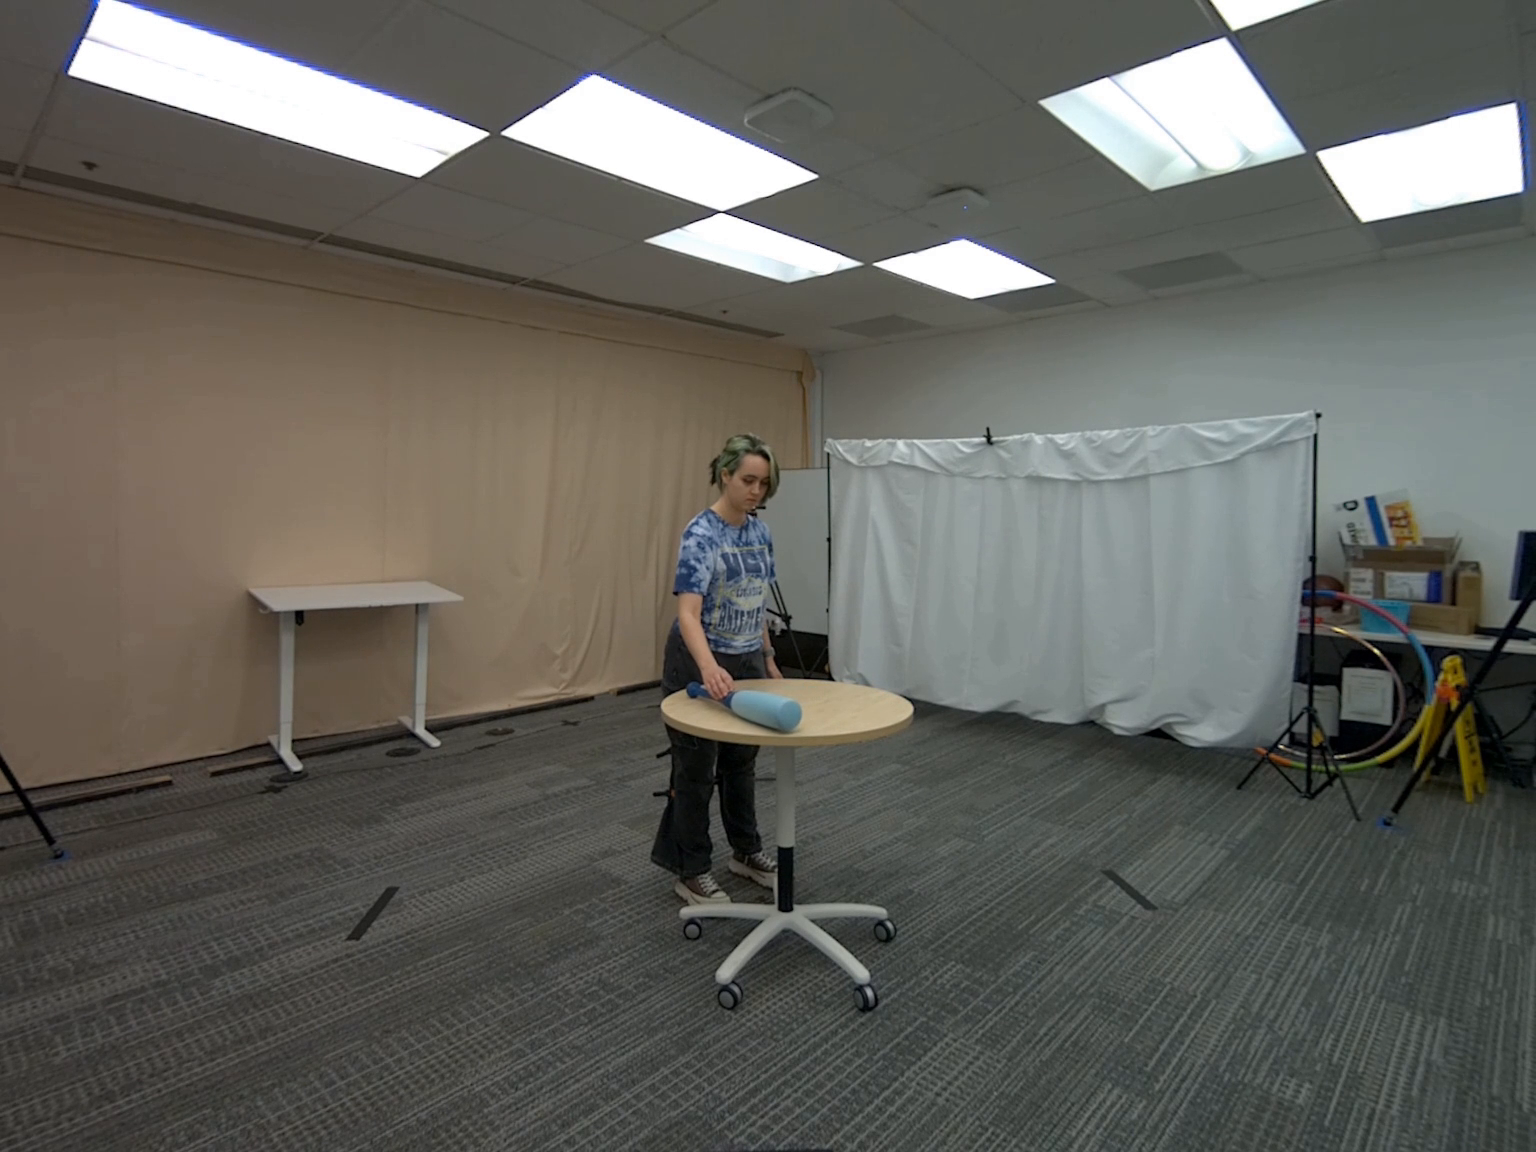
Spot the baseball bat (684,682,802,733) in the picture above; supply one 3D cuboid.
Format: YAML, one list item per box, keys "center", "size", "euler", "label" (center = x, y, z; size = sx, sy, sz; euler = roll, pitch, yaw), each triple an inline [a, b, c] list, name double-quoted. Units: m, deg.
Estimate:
- center: [-0.088, 0.370, 2.447]
  size: [0.086, 0.089, 0.558]
  euler: [-2, 1, -32]
  label: "baseball bat"
